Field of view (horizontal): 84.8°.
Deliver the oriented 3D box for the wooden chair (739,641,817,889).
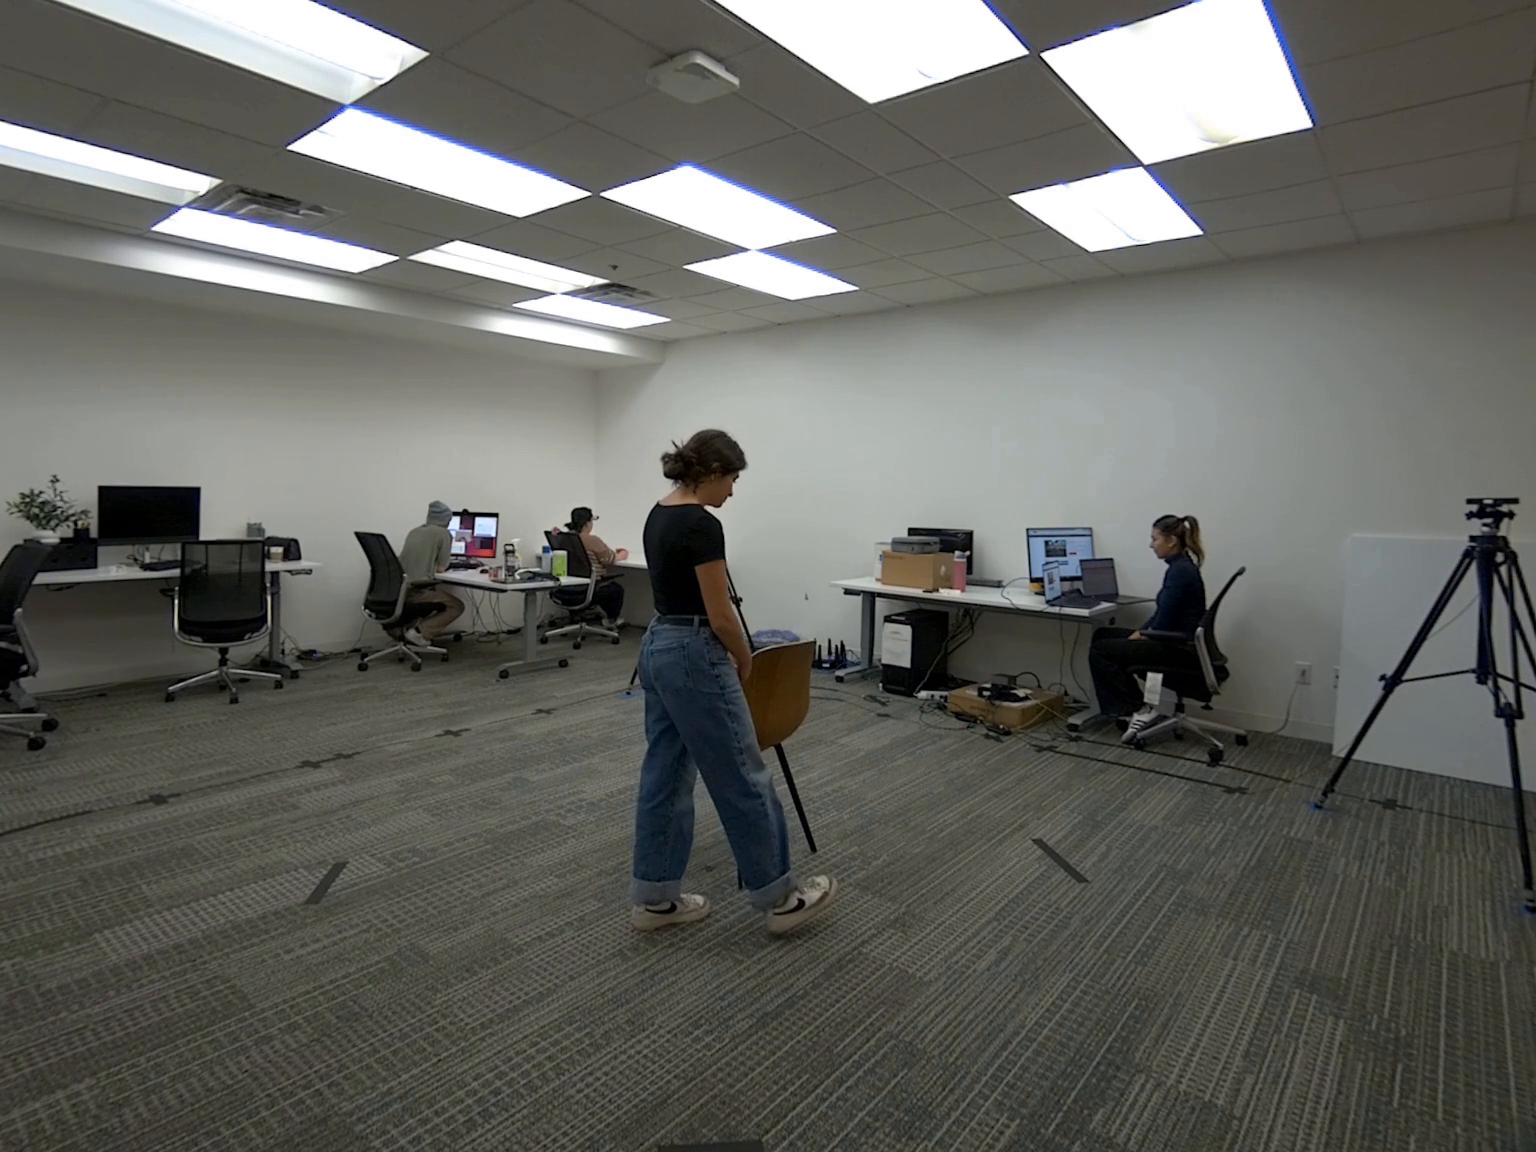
[{"bbox_3d":[-0.129,0.630,3.241,0.542,0.873,0.464,10,8,40],"label":"wooden chair"}]
